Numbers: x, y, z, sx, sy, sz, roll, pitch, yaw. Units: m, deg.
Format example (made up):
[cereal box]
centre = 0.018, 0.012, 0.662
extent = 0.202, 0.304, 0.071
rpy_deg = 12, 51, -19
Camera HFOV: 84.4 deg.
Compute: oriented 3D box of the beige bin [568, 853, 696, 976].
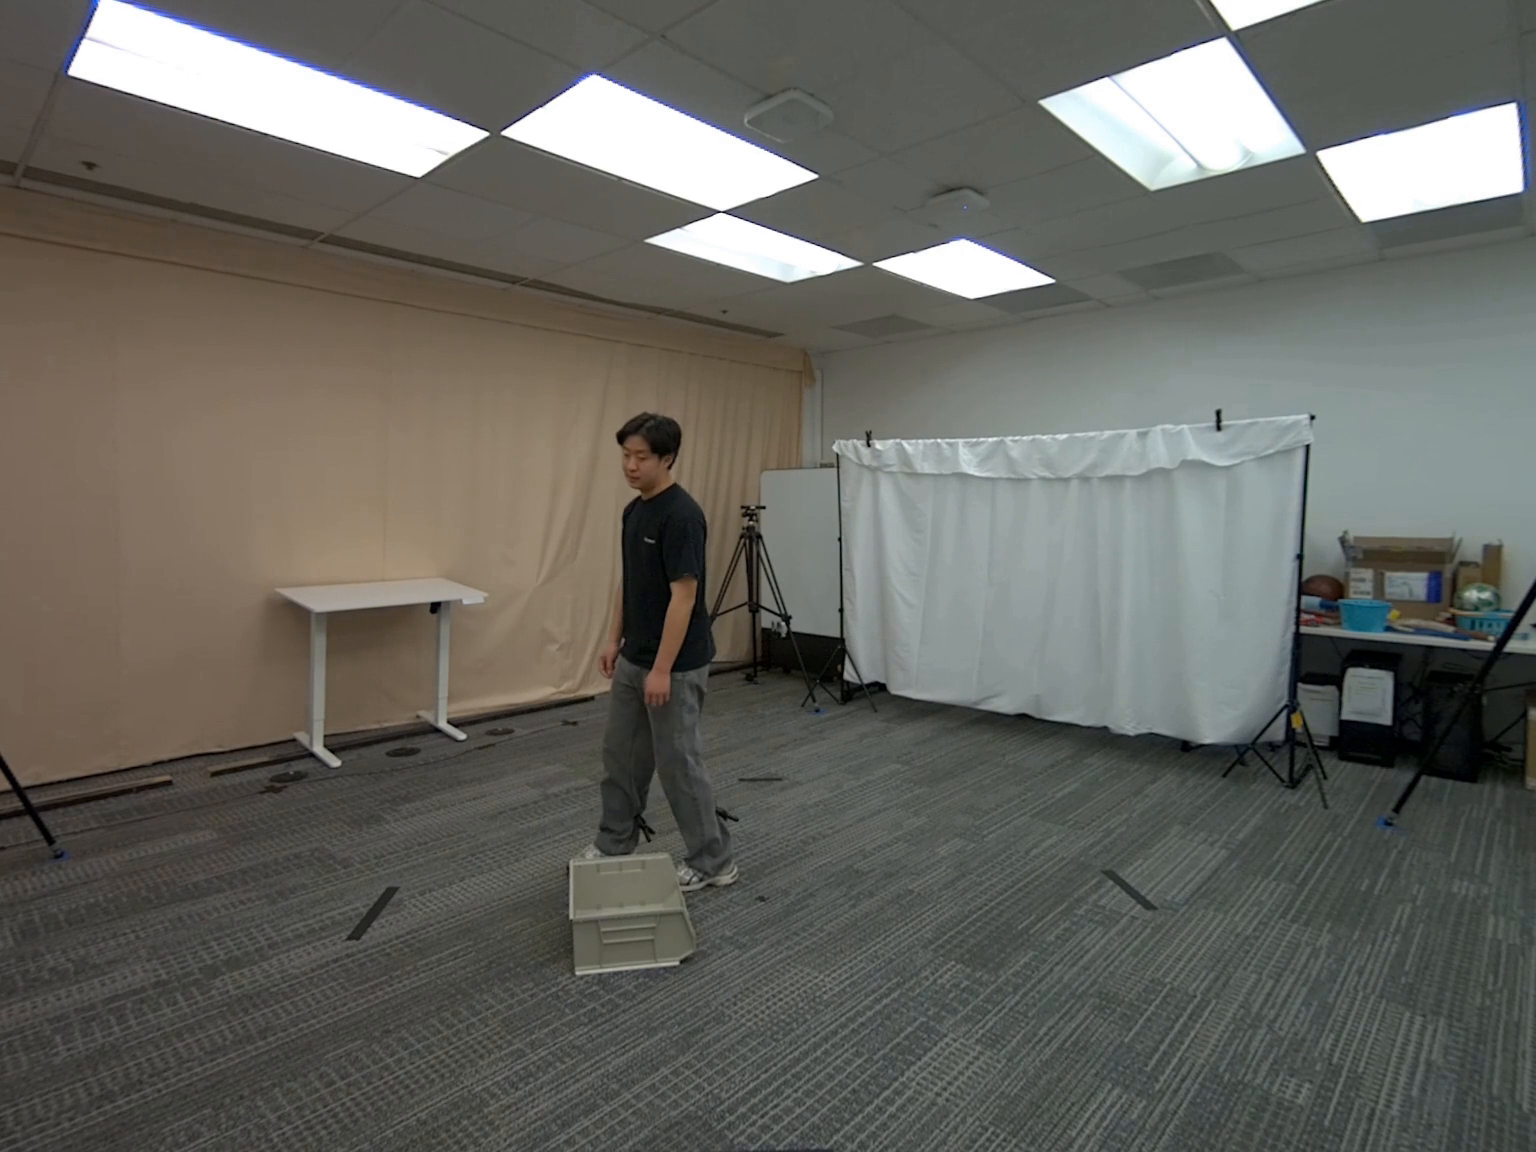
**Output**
[beige bin]
centre = -0.442, 1.084, 2.724
extent = 0.372, 0.188, 0.429
rpy_deg = -2, 6, -13
